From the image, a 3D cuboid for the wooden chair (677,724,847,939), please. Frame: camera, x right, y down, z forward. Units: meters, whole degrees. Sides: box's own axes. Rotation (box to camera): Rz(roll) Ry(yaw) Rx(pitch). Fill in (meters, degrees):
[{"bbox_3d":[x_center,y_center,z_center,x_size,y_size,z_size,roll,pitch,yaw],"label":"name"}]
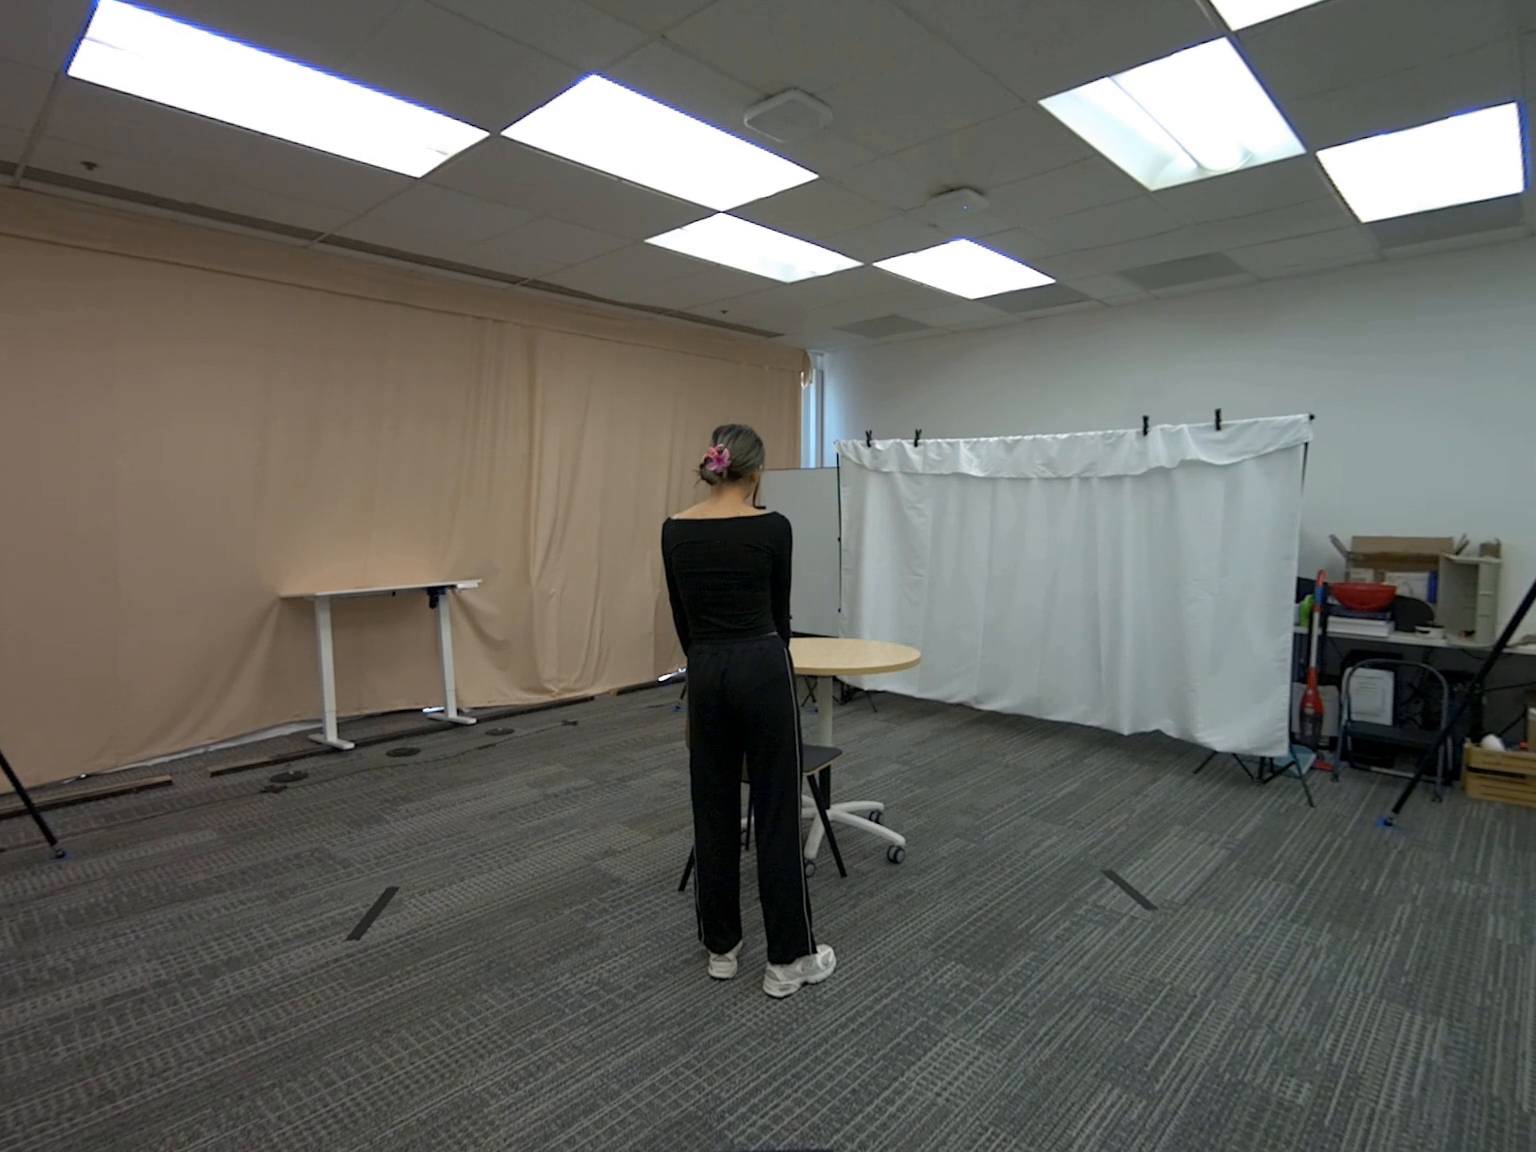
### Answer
[{"bbox_3d":[-0.014,0.705,3.071,0.493,0.873,0.510,2,8,34],"label":"wooden chair"}]
